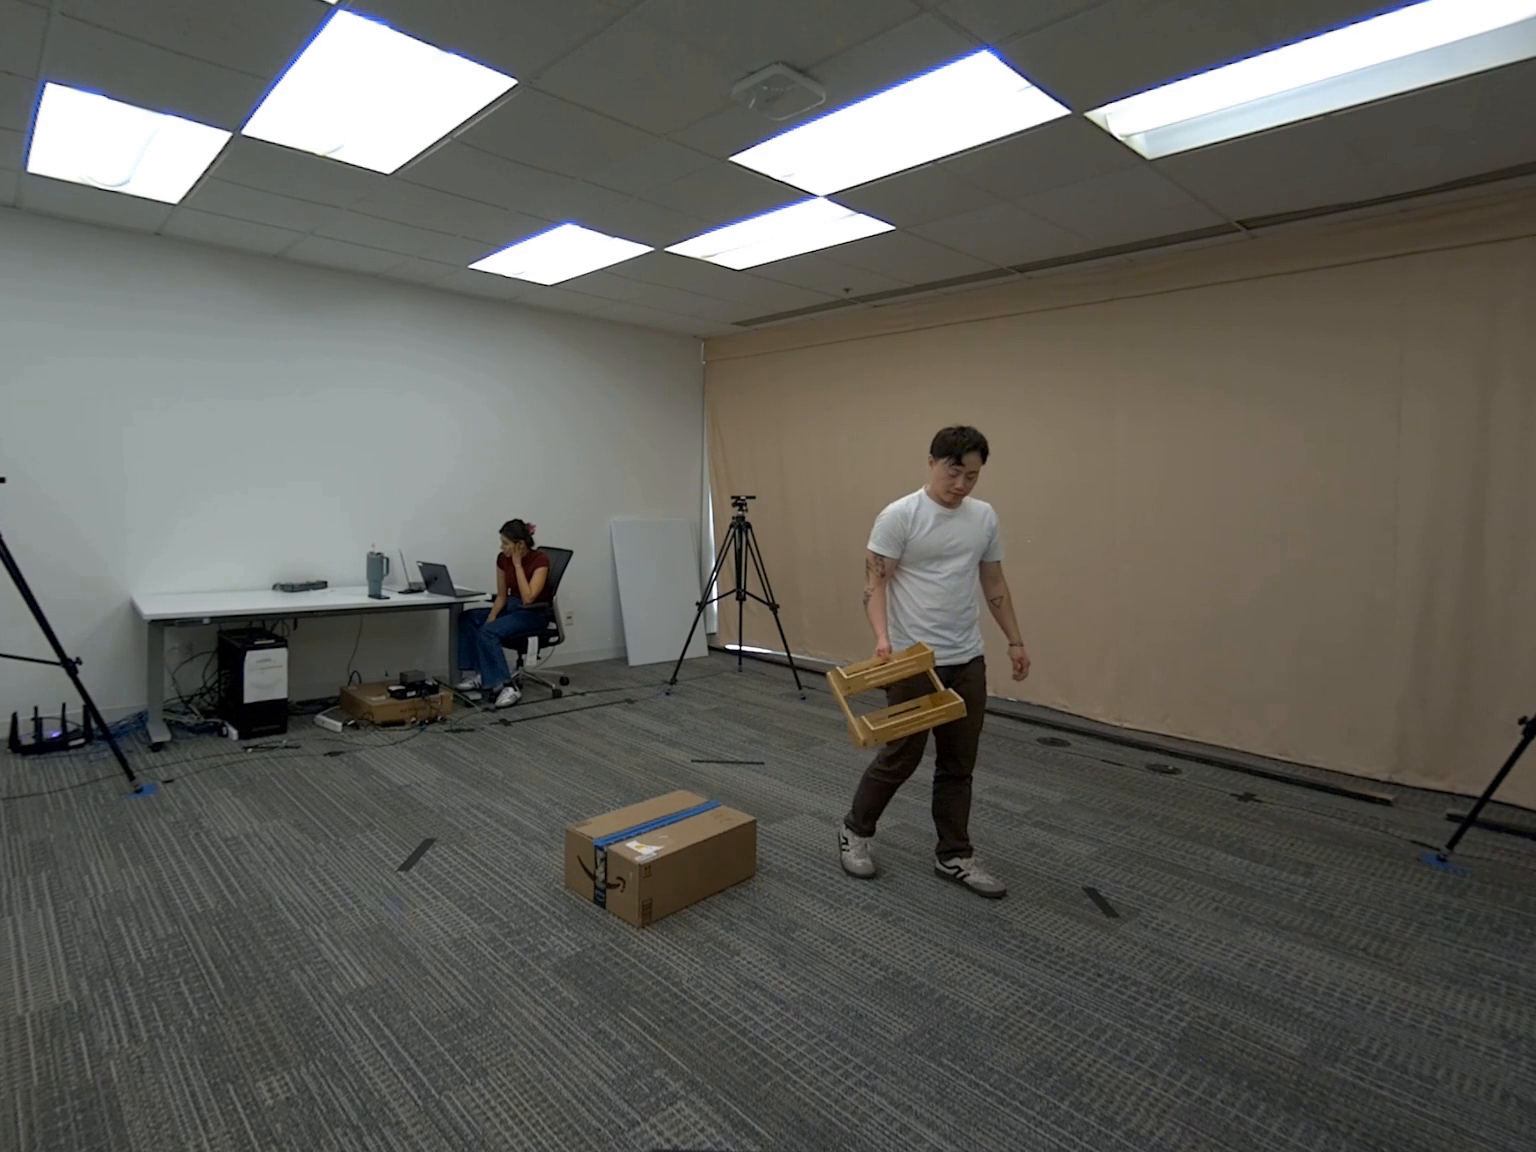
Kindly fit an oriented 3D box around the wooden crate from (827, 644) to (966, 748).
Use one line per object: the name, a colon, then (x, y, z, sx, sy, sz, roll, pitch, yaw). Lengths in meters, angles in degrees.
wooden crate: (0.378, 0.368, 2.642, 0.323, 0.277, 0.299, -14, -14, -8)
